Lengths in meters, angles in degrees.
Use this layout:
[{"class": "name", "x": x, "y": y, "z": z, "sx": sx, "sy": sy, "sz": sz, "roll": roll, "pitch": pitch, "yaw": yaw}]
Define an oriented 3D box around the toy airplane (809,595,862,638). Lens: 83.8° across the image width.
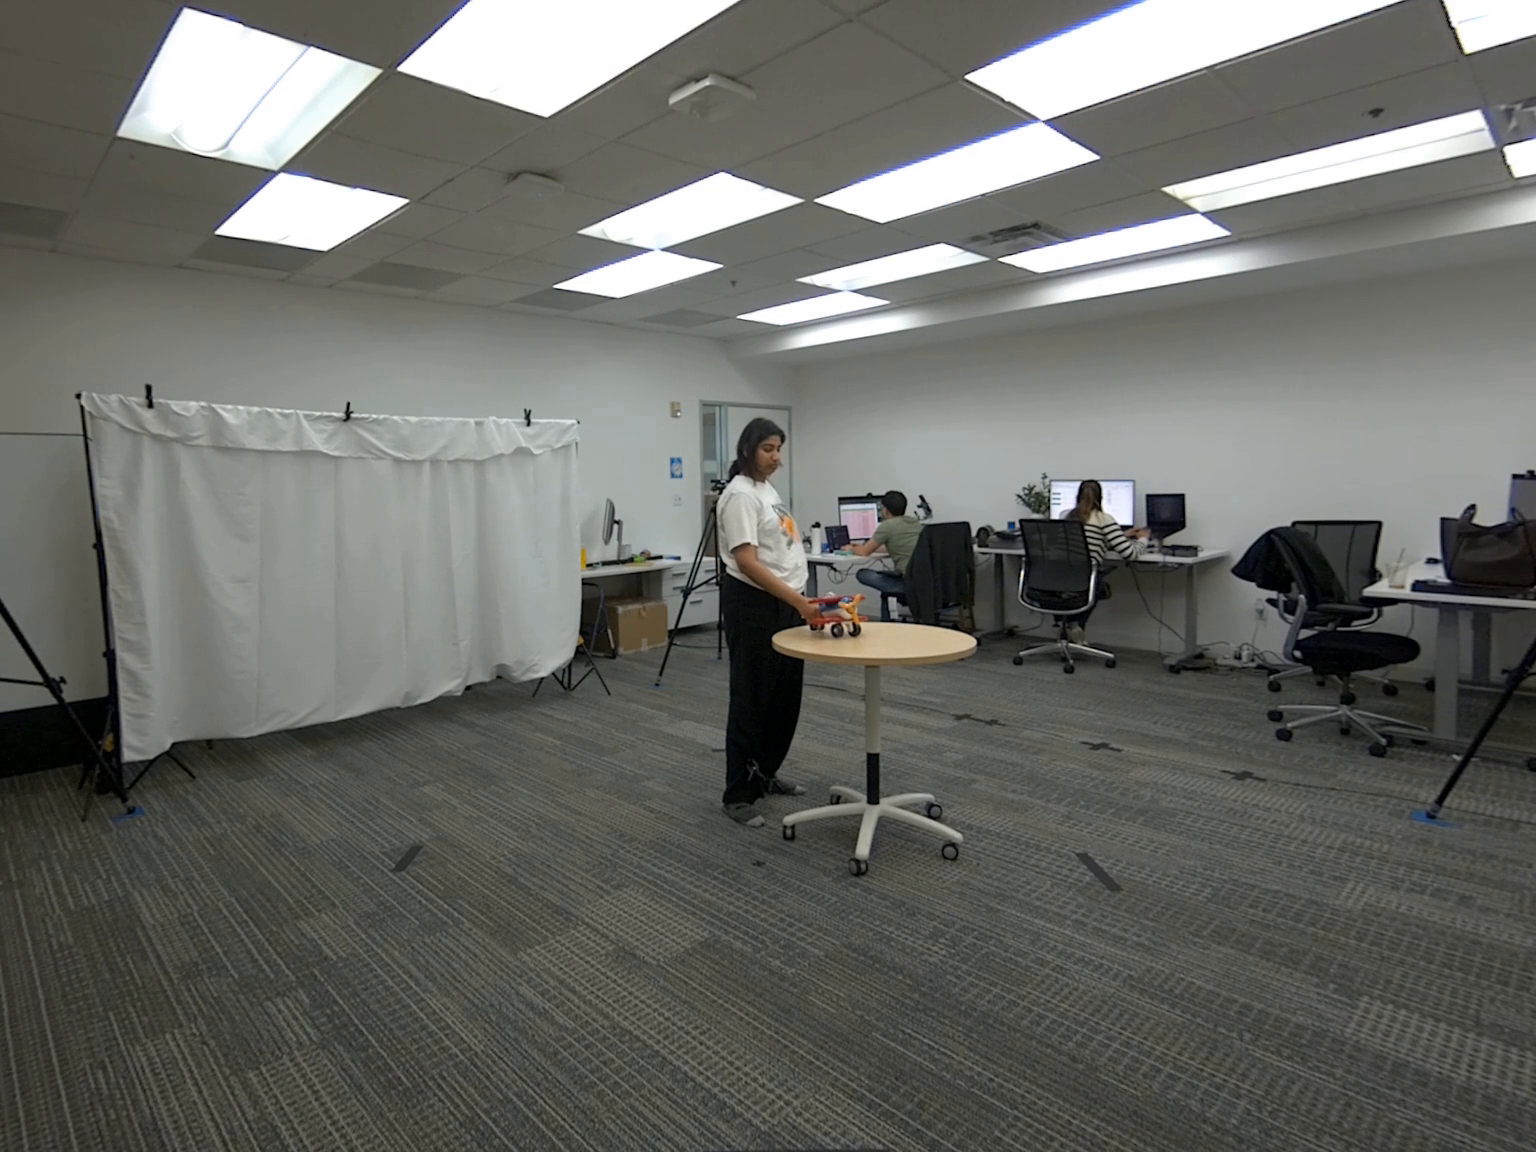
[{"class": "toy airplane", "x": 0.243, "y": 0.149, "z": 3.336, "sx": 0.266, "sy": 0.156, "sz": 0.245, "roll": 3, "pitch": 5, "yaw": 29}]
